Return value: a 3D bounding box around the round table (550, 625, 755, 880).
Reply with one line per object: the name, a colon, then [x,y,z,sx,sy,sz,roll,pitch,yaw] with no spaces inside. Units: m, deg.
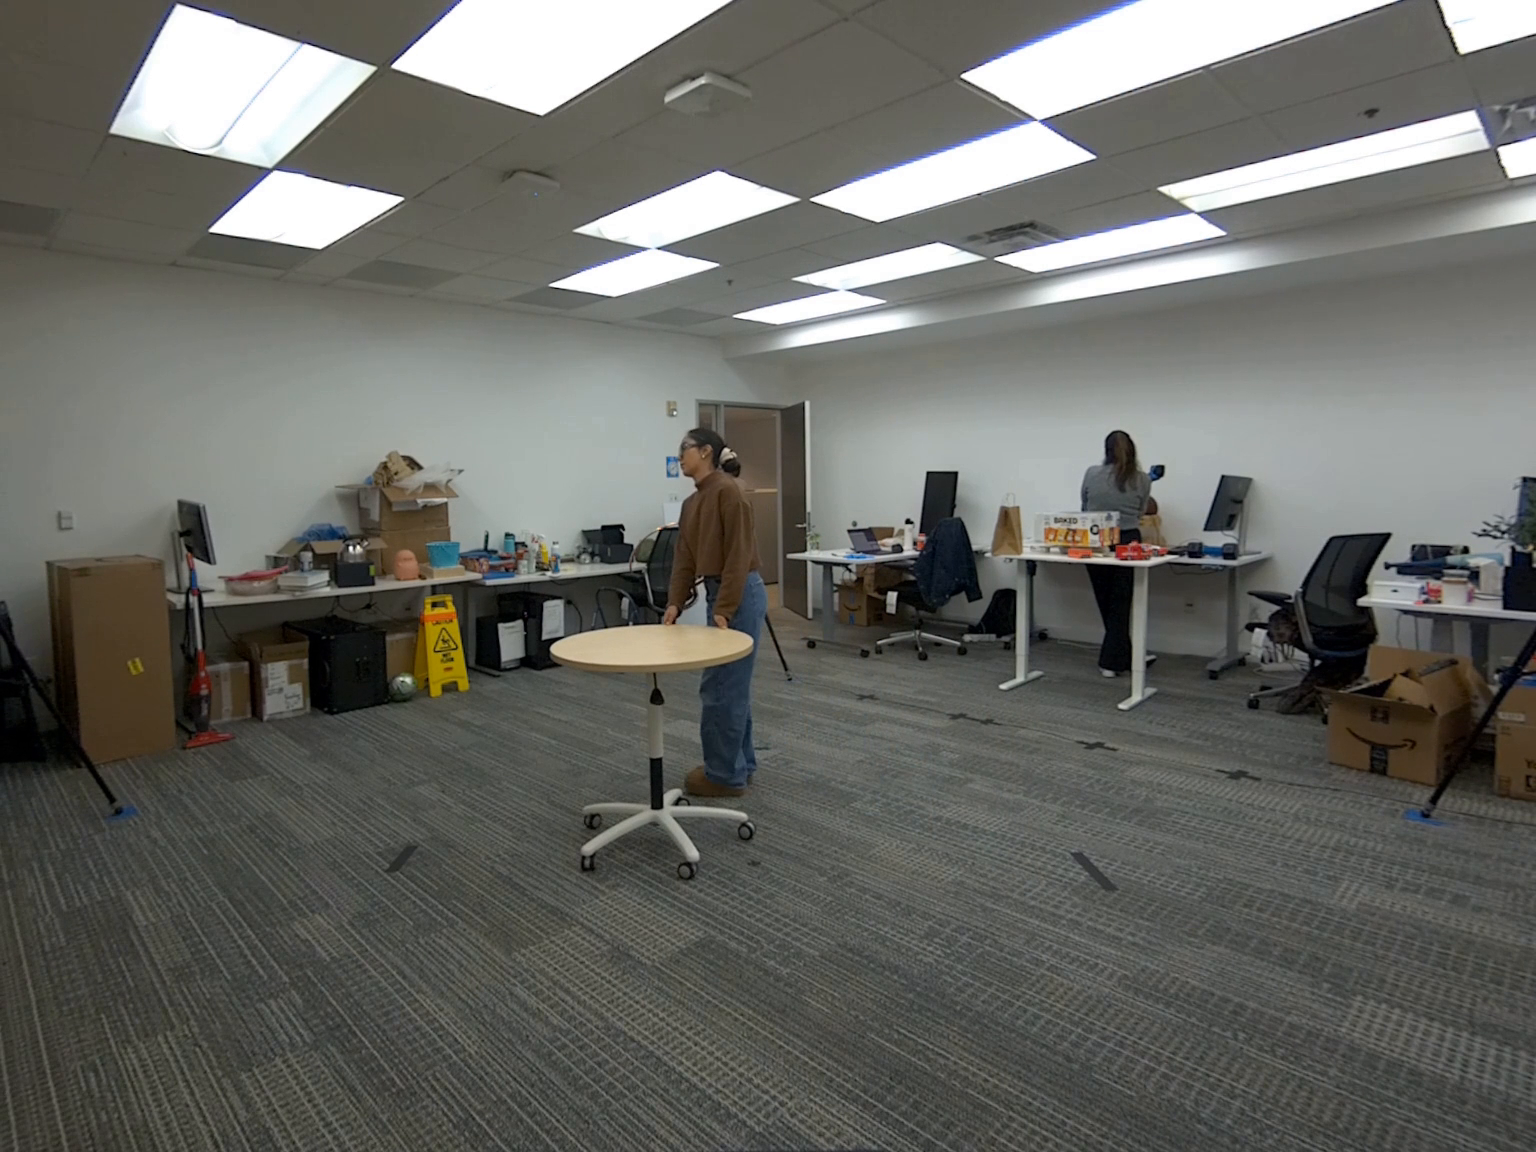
round table: [-0.423,0.640,3.253,0.784,0.784,0.789,-2,4,-2]
